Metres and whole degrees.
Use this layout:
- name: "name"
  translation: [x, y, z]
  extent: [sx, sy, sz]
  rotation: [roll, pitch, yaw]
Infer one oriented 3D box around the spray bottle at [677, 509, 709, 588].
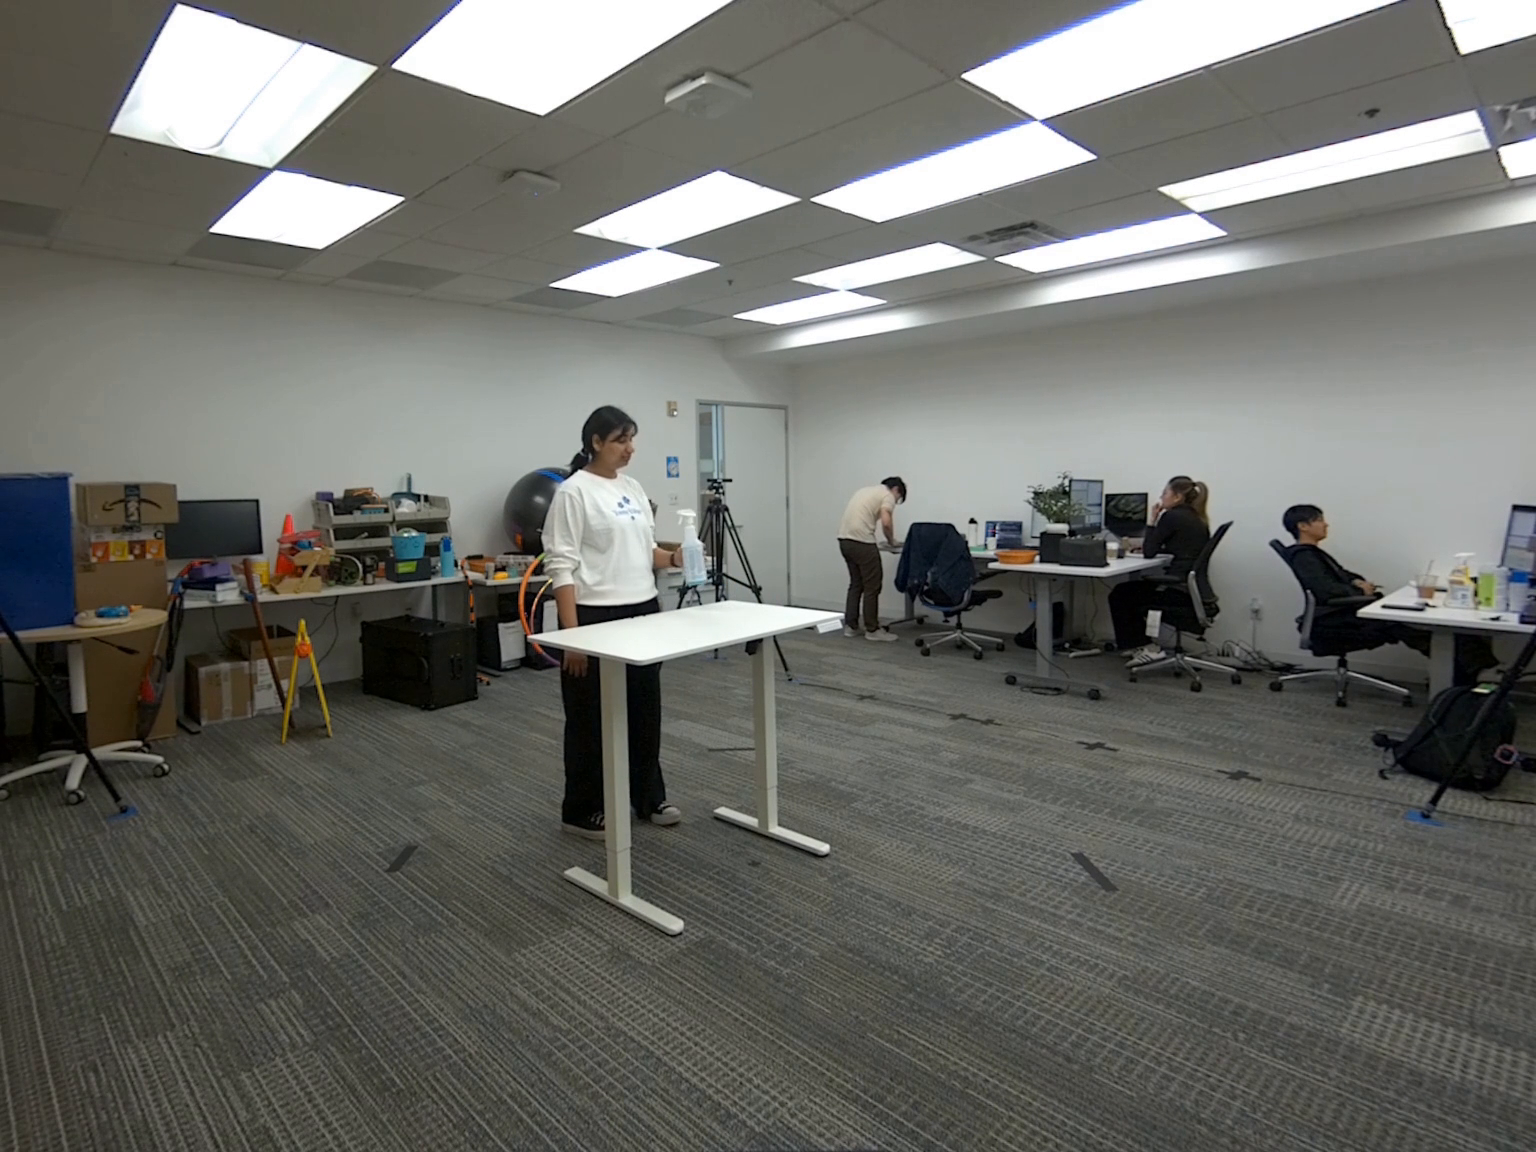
- name: "spray bottle"
  translation: [-0.306, -0.110, 3.350]
  extent: [0.089, 0.297, 0.088]
  rotation: [-10, 2, -14]
